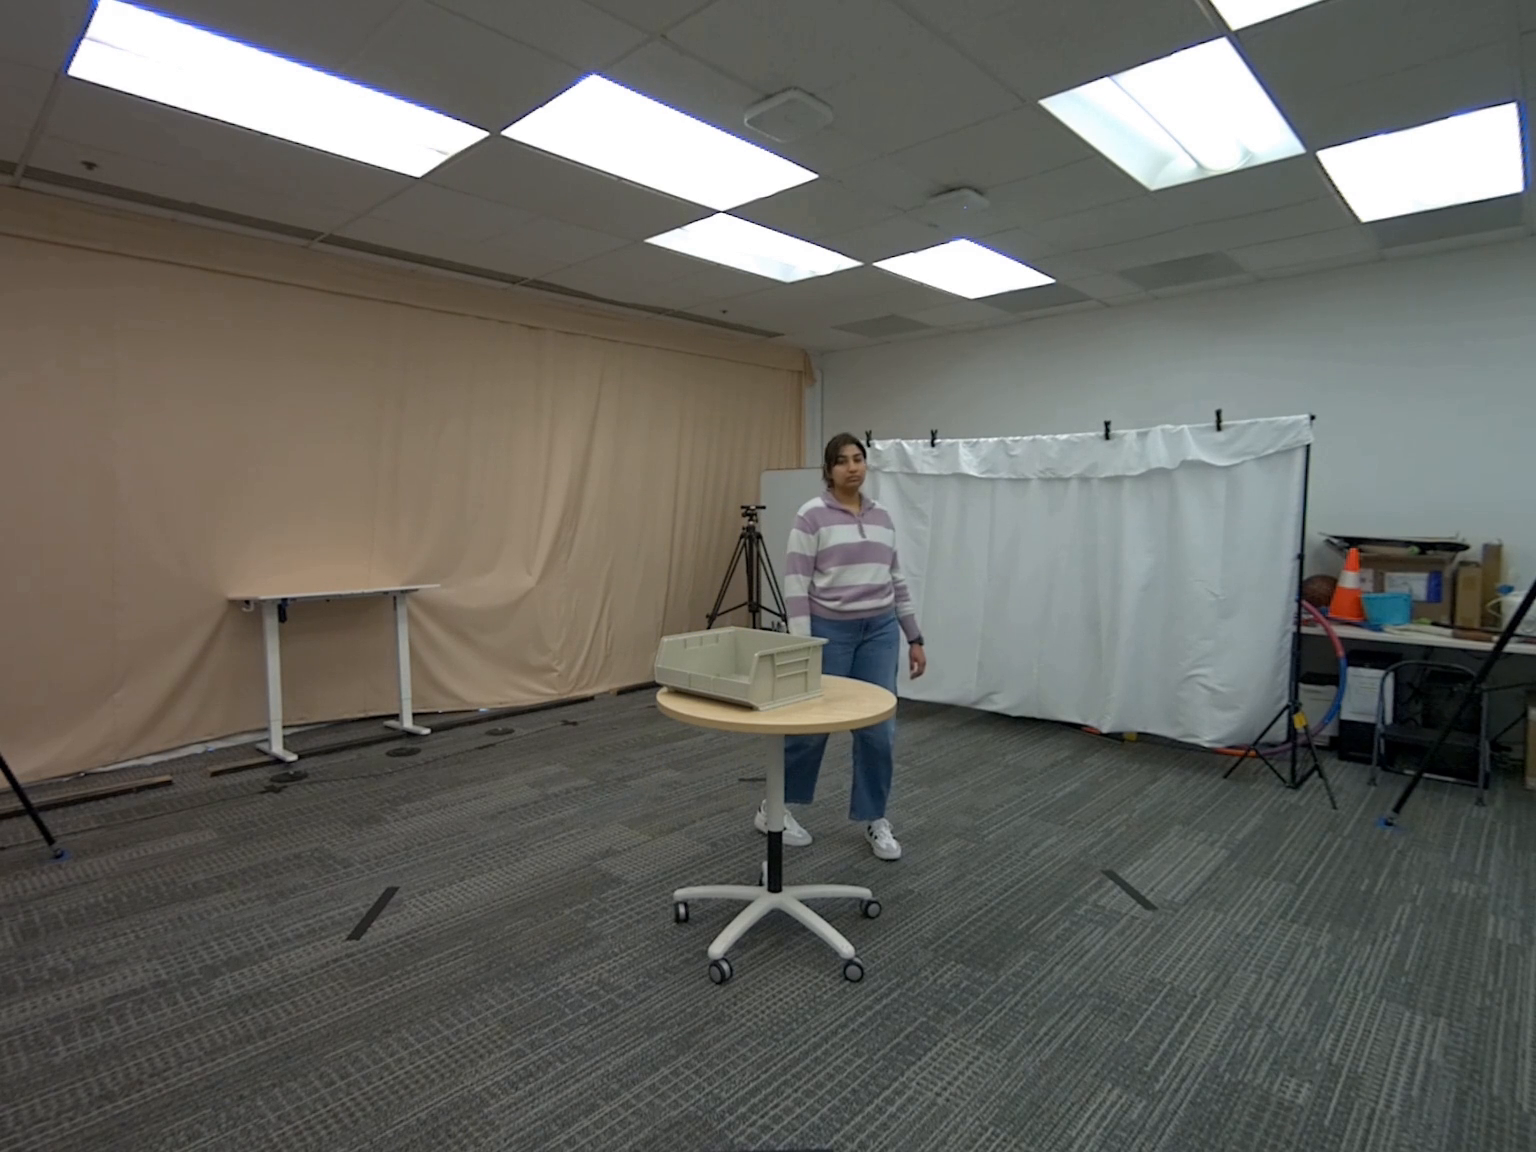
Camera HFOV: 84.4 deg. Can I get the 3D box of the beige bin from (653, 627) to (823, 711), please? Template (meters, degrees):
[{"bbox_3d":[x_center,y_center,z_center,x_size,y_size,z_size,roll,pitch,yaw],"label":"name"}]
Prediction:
[{"bbox_3d":[-0.087,0.294,2.716,0.436,0.189,0.365,3,4,42],"label":"beige bin"}]
